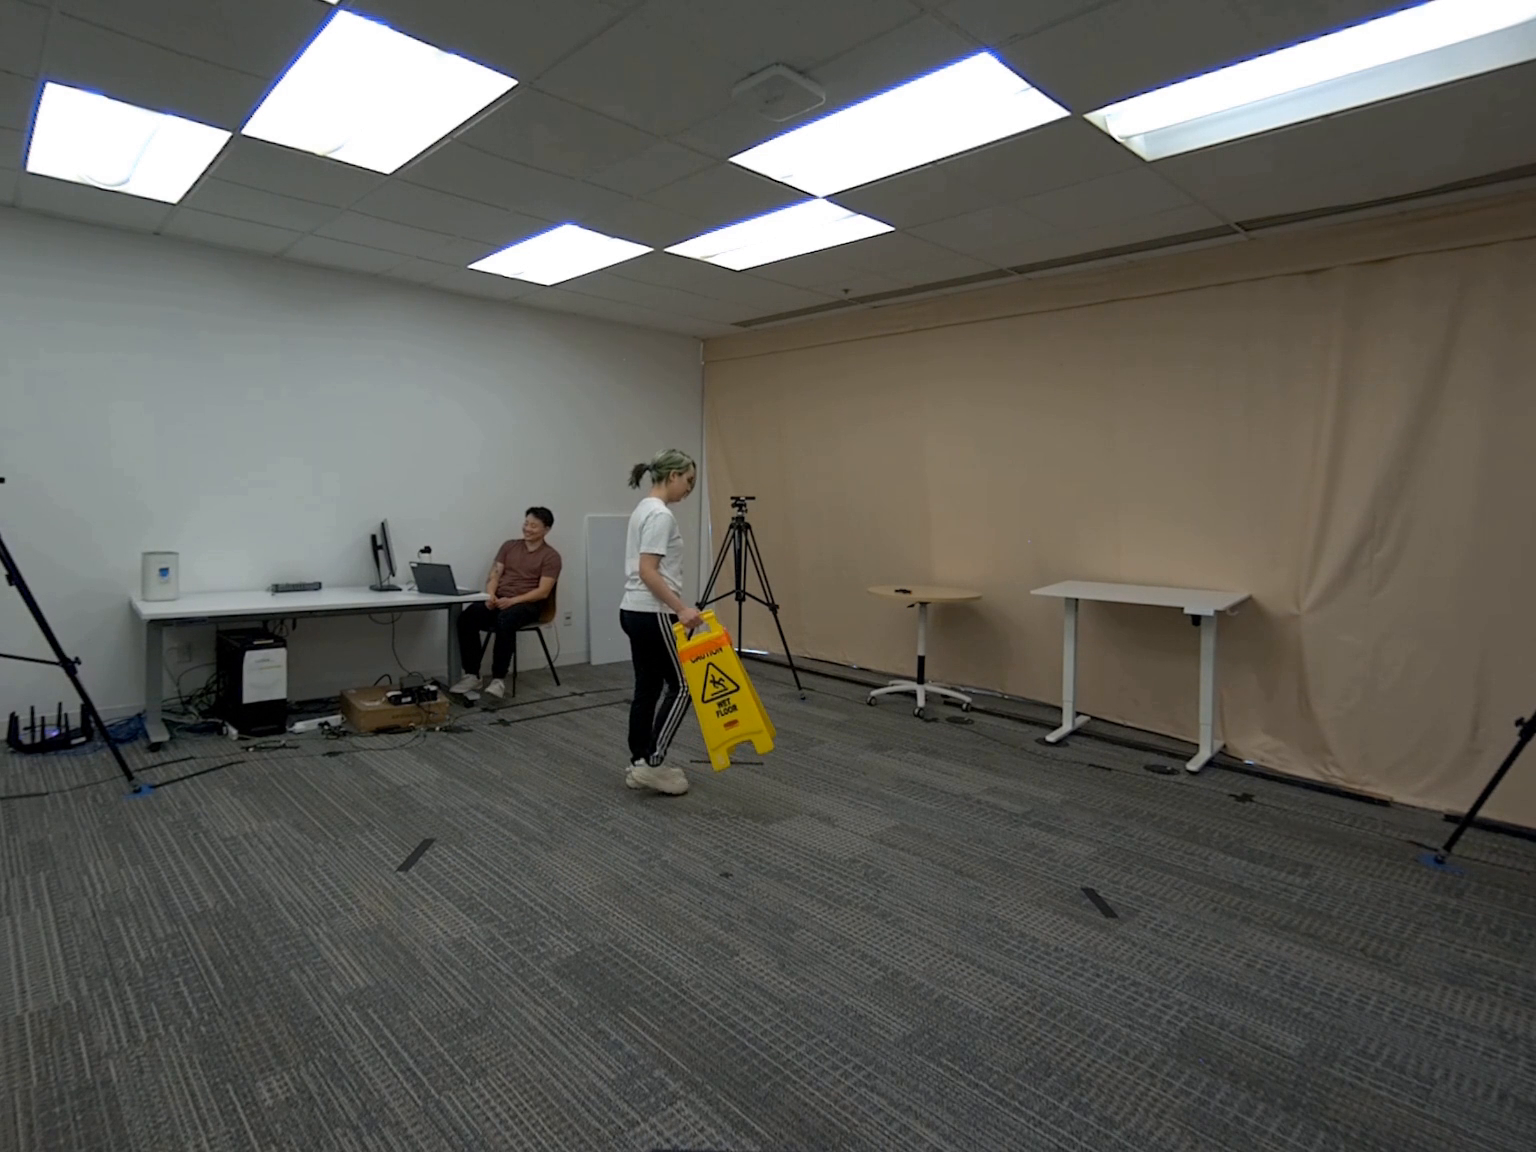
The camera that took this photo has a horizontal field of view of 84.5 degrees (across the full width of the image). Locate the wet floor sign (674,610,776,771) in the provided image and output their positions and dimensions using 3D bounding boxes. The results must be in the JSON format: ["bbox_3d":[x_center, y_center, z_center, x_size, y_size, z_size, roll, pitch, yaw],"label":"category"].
[{"bbox_3d":[-0.227,0.485,3.737,0.283,0.647,0.289,-19,-1,3],"label":"wet floor sign"}]
